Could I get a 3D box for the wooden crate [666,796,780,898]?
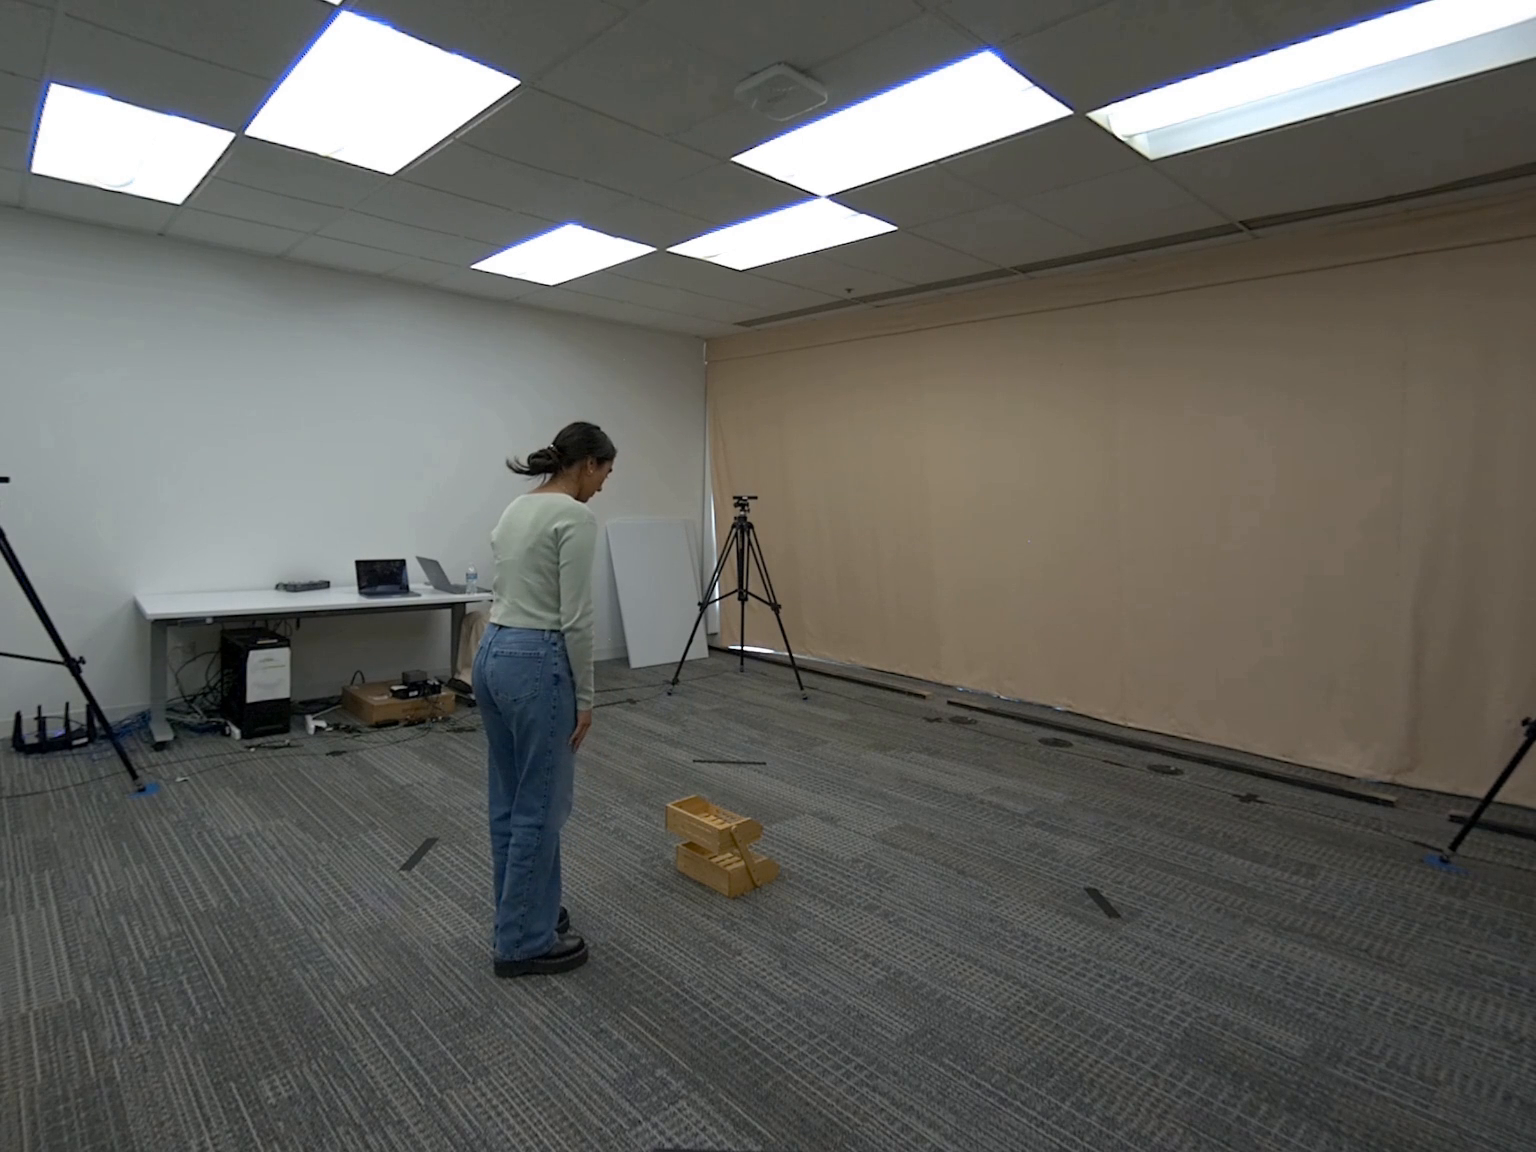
[{"bbox_3d":[-0.172,0.968,3.088,0.295,0.272,0.333,-4,7,-44],"label":"wooden crate"}]
